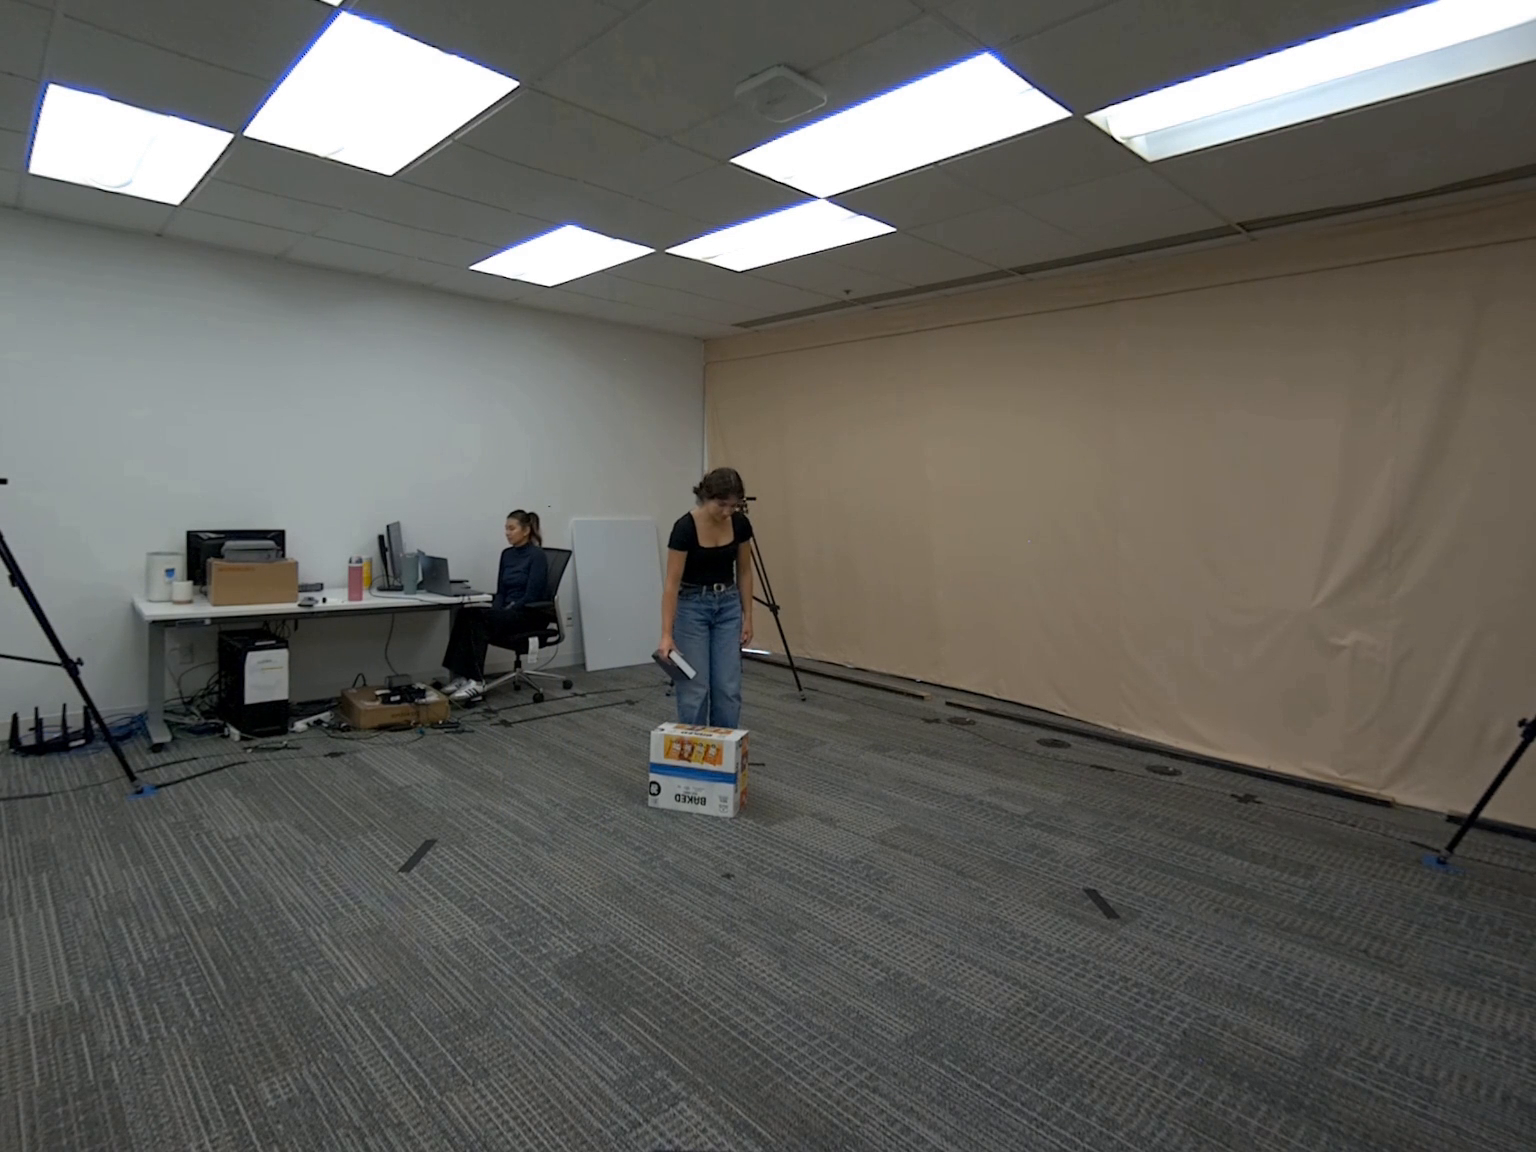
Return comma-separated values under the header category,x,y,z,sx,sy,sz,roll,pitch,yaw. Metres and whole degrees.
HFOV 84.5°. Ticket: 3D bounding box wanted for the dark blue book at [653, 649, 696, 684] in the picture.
category,x,y,z,sx,sy,sz,roll,pitch,yaw
dark blue book,-0.452,0.421,3.951,0.045,0.161,0.248,-47,12,-21
